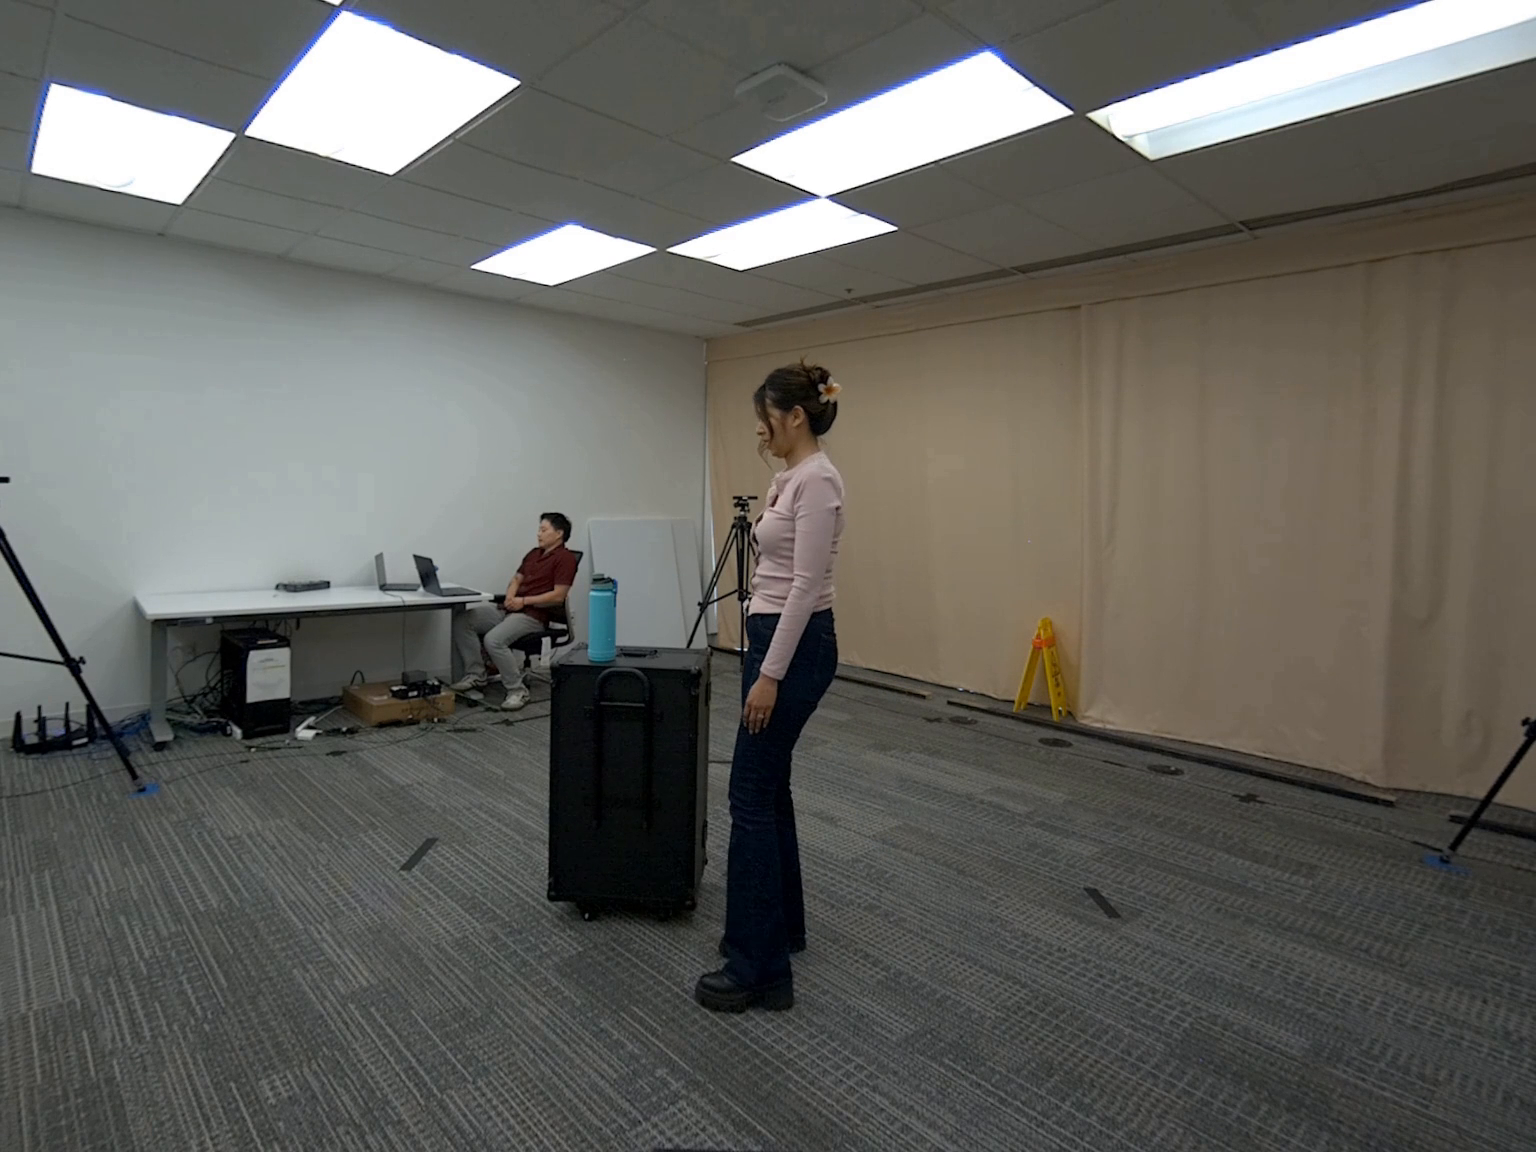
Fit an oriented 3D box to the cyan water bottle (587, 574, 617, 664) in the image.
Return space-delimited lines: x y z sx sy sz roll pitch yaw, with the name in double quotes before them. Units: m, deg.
"cyan water bottle" -0.555 0.135 2.771 0.092 0.283 0.092 3 -1 -1
